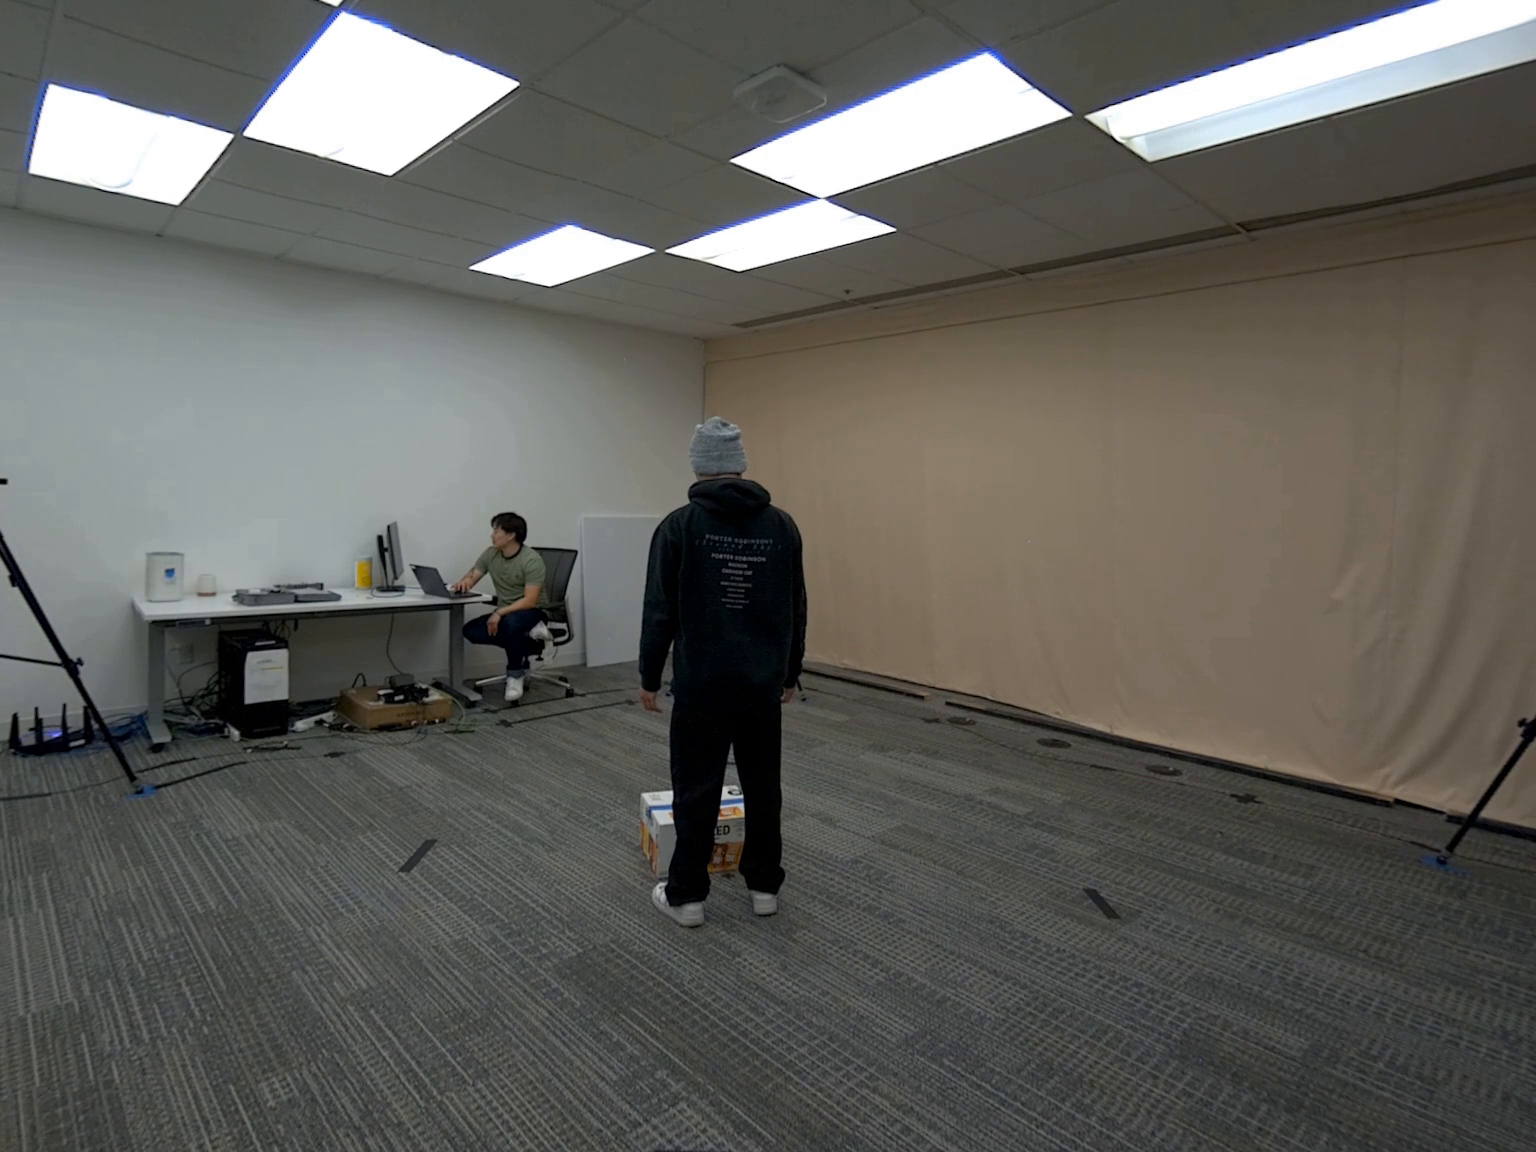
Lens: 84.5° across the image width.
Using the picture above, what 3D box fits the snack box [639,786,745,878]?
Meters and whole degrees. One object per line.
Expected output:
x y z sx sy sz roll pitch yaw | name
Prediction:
-0.275 0.988 3.278 0.399 0.205 0.346 0 5 -19 | snack box
